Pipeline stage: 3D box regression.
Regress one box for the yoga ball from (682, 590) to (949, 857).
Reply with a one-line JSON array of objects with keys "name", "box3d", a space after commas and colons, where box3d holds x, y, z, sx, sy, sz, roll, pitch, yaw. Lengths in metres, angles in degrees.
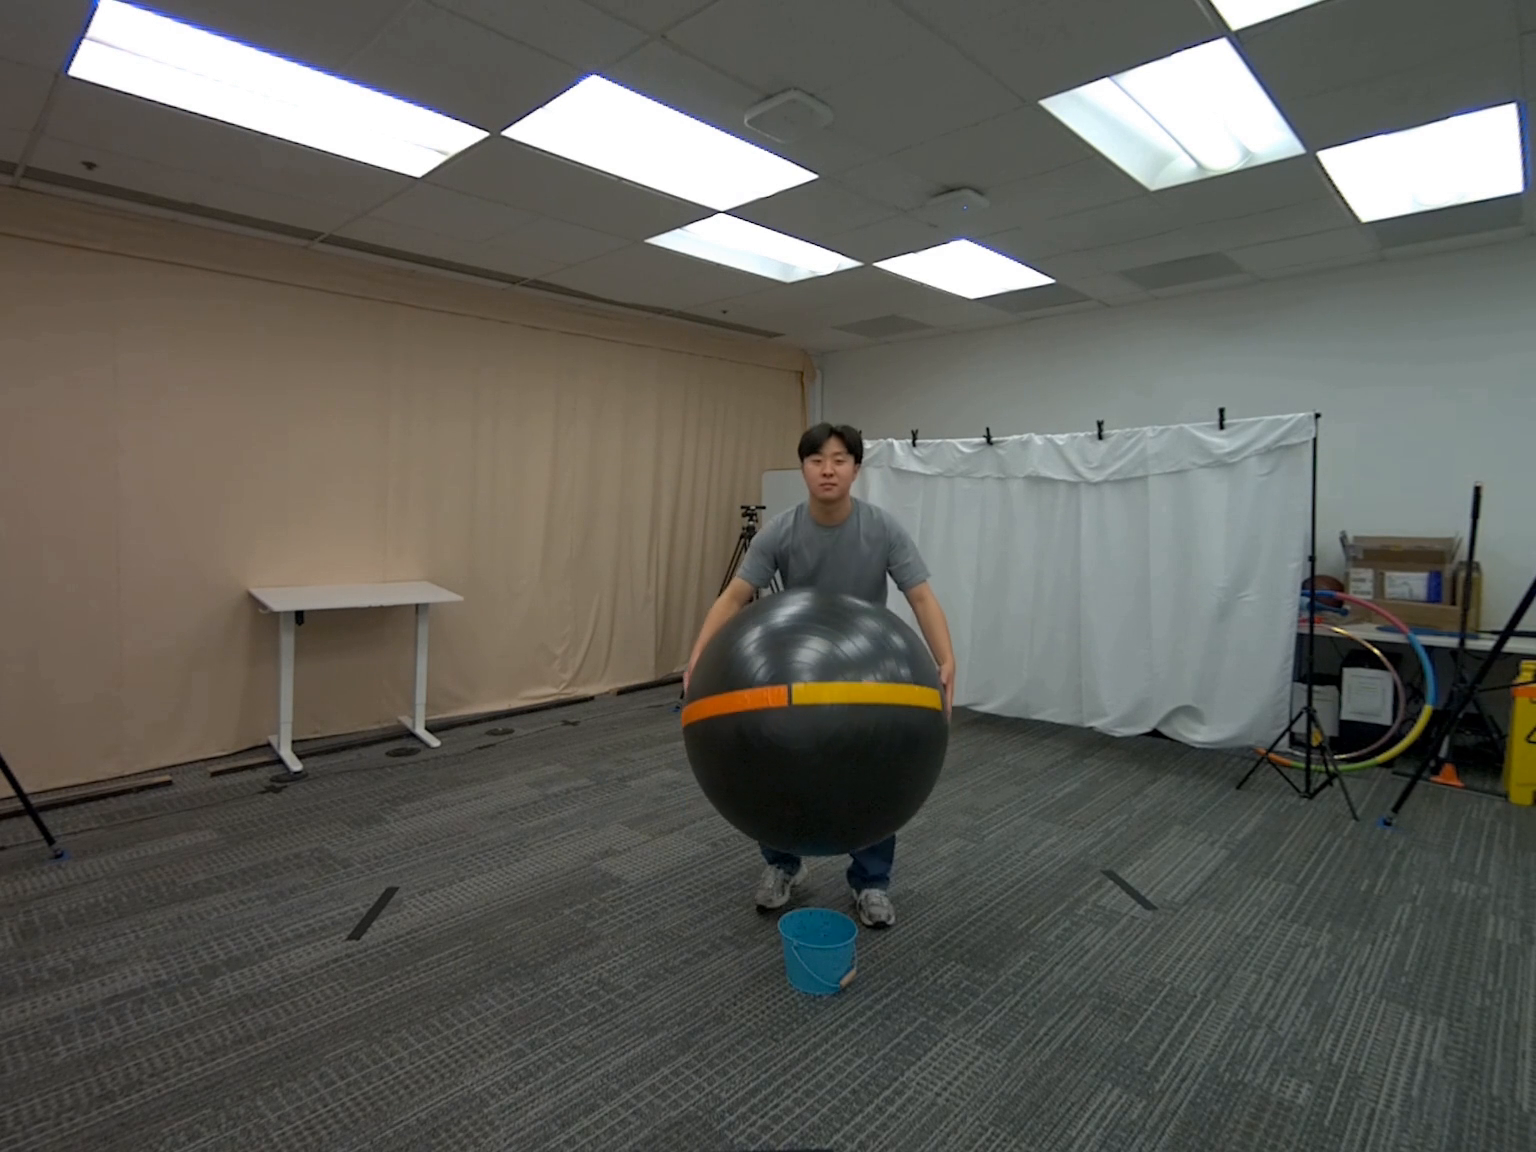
[{"name": "yoga ball", "box3d": [0.125, 0.416, 2.432, 0.757, 0.756, 0.761, 0, 4, -2]}]
